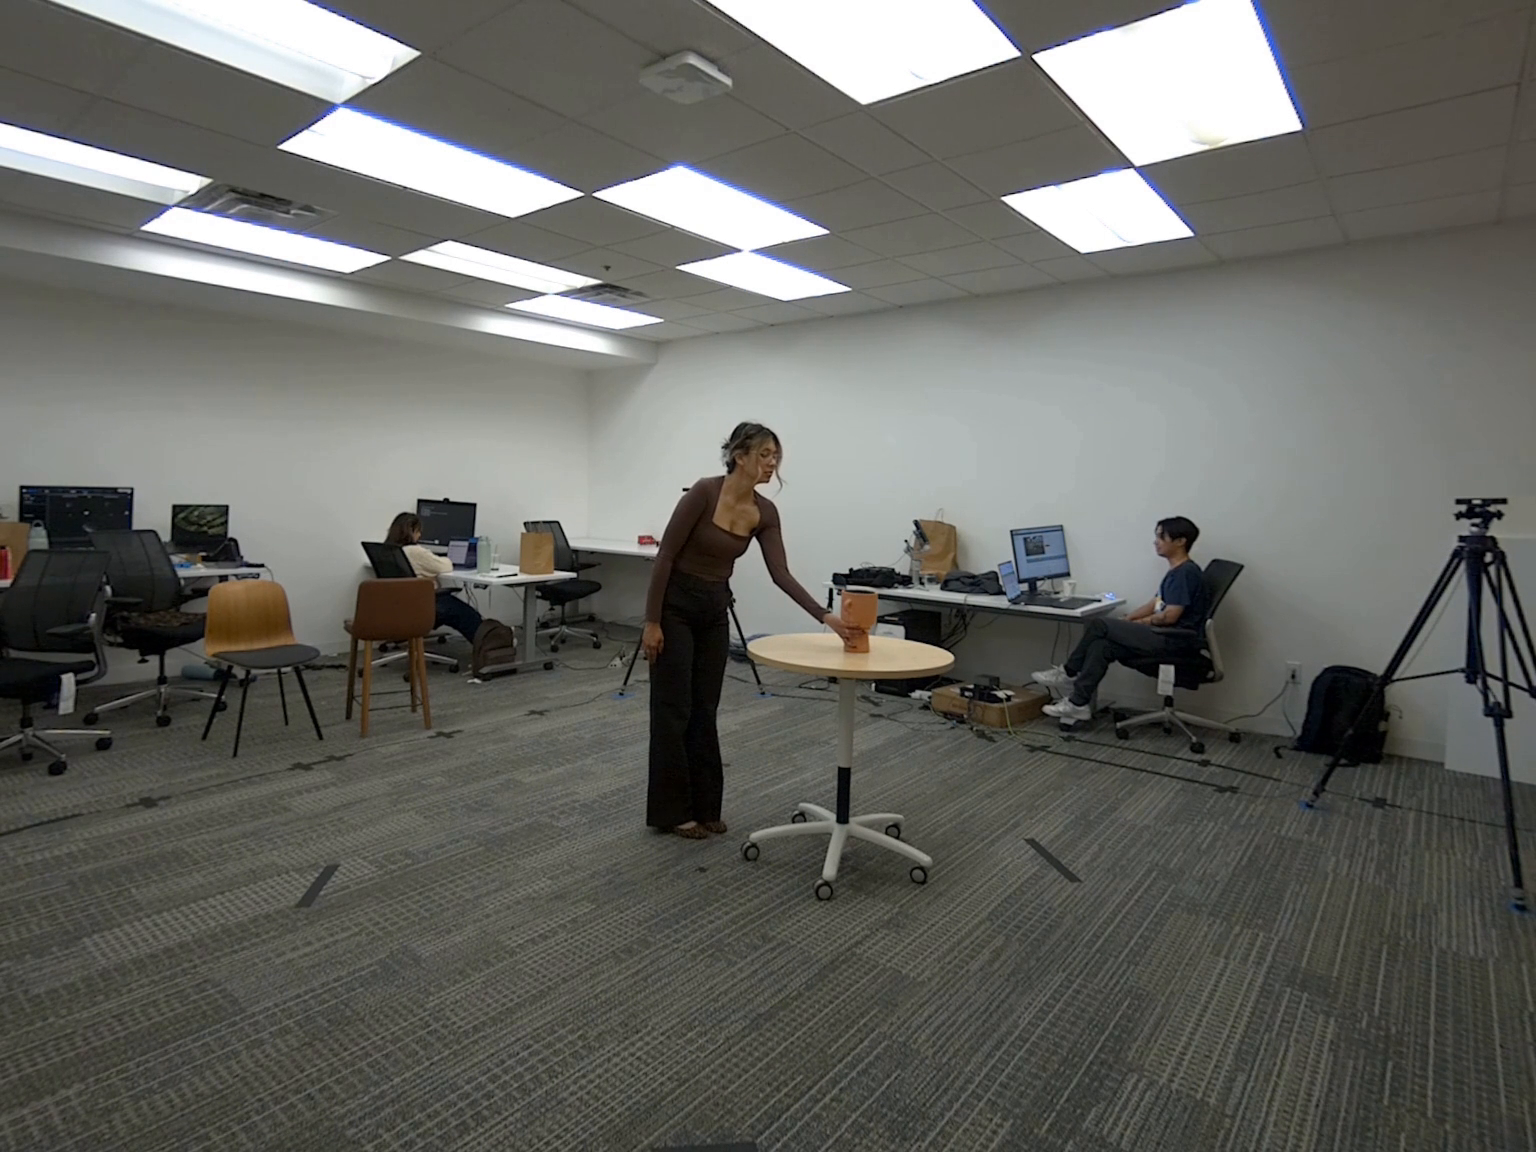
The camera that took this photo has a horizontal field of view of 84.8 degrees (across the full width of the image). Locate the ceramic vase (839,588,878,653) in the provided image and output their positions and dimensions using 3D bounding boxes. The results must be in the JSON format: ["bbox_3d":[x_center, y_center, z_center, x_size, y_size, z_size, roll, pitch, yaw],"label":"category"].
[{"bbox_3d":[0.321,0.159,3.196,0.157,0.219,0.137,3,4,-12],"label":"ceramic vase"}]
